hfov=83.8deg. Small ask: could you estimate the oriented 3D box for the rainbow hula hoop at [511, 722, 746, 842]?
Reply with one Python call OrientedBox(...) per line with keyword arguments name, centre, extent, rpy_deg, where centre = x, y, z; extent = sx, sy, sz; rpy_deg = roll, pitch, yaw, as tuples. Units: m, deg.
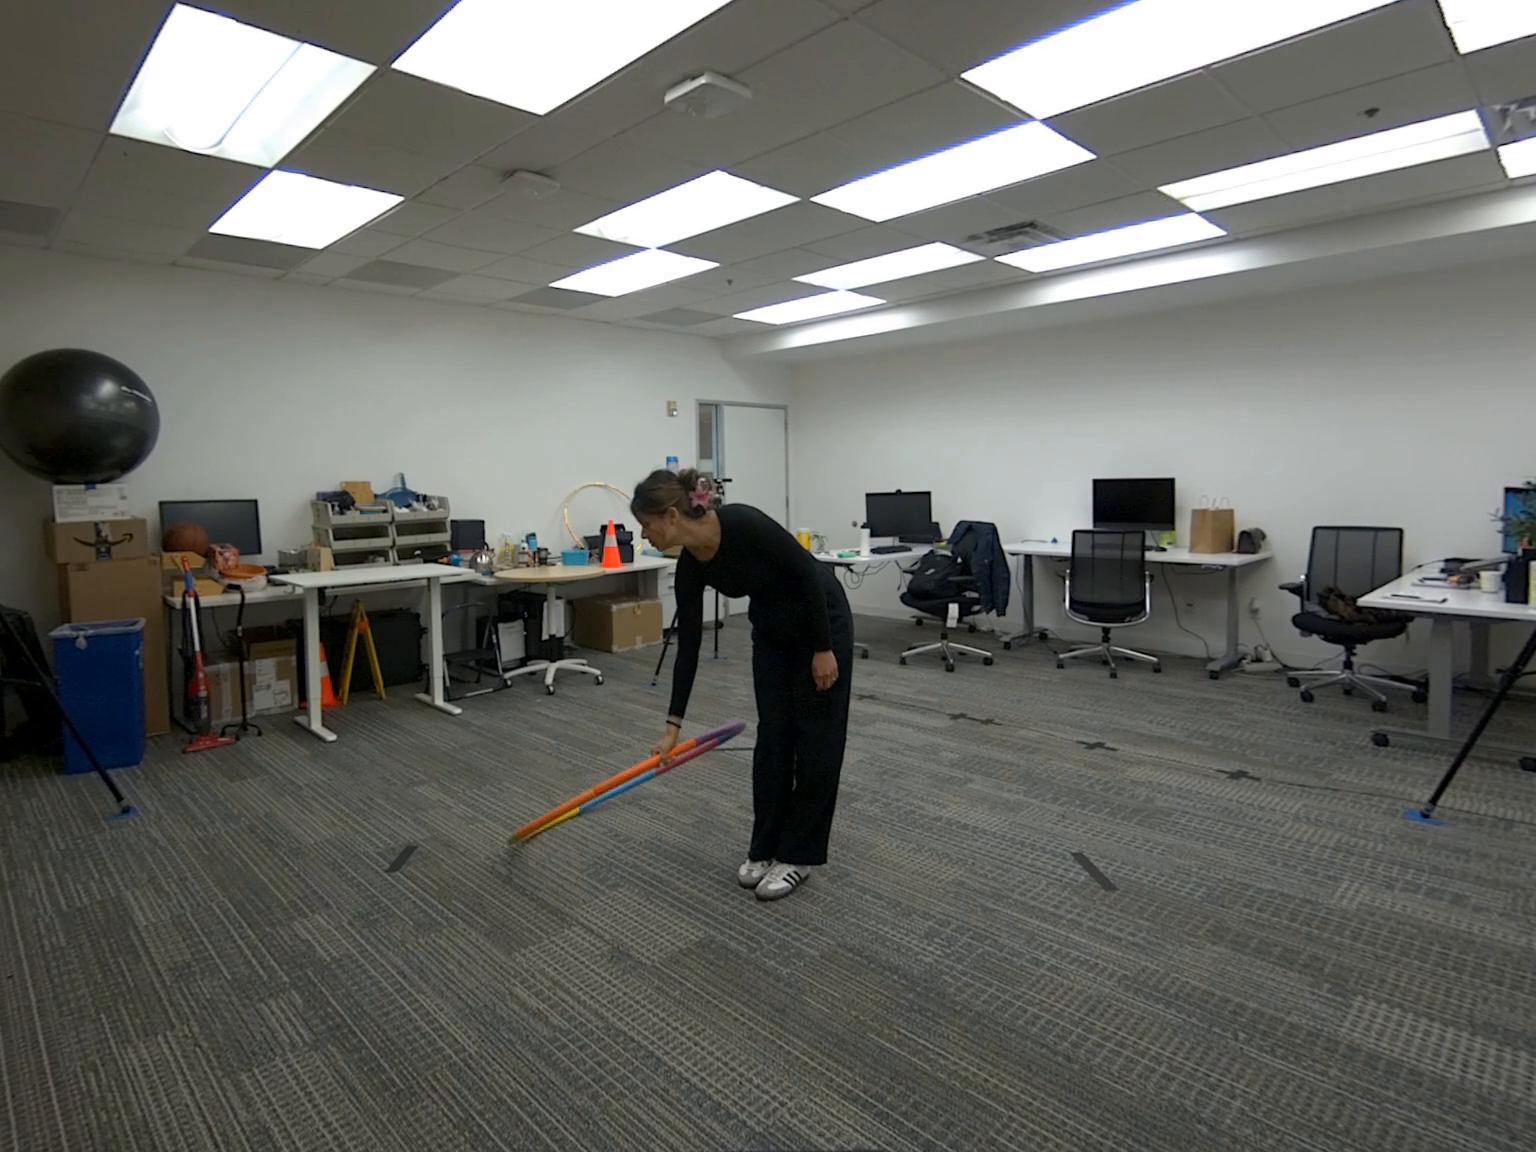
OrientedBox(name="rainbow hula hoop", centre=(-0.533, 0.781, 3.266), extent=(0.981, 0.052, 0.973), rpy_deg=(-25, -11, -8))
